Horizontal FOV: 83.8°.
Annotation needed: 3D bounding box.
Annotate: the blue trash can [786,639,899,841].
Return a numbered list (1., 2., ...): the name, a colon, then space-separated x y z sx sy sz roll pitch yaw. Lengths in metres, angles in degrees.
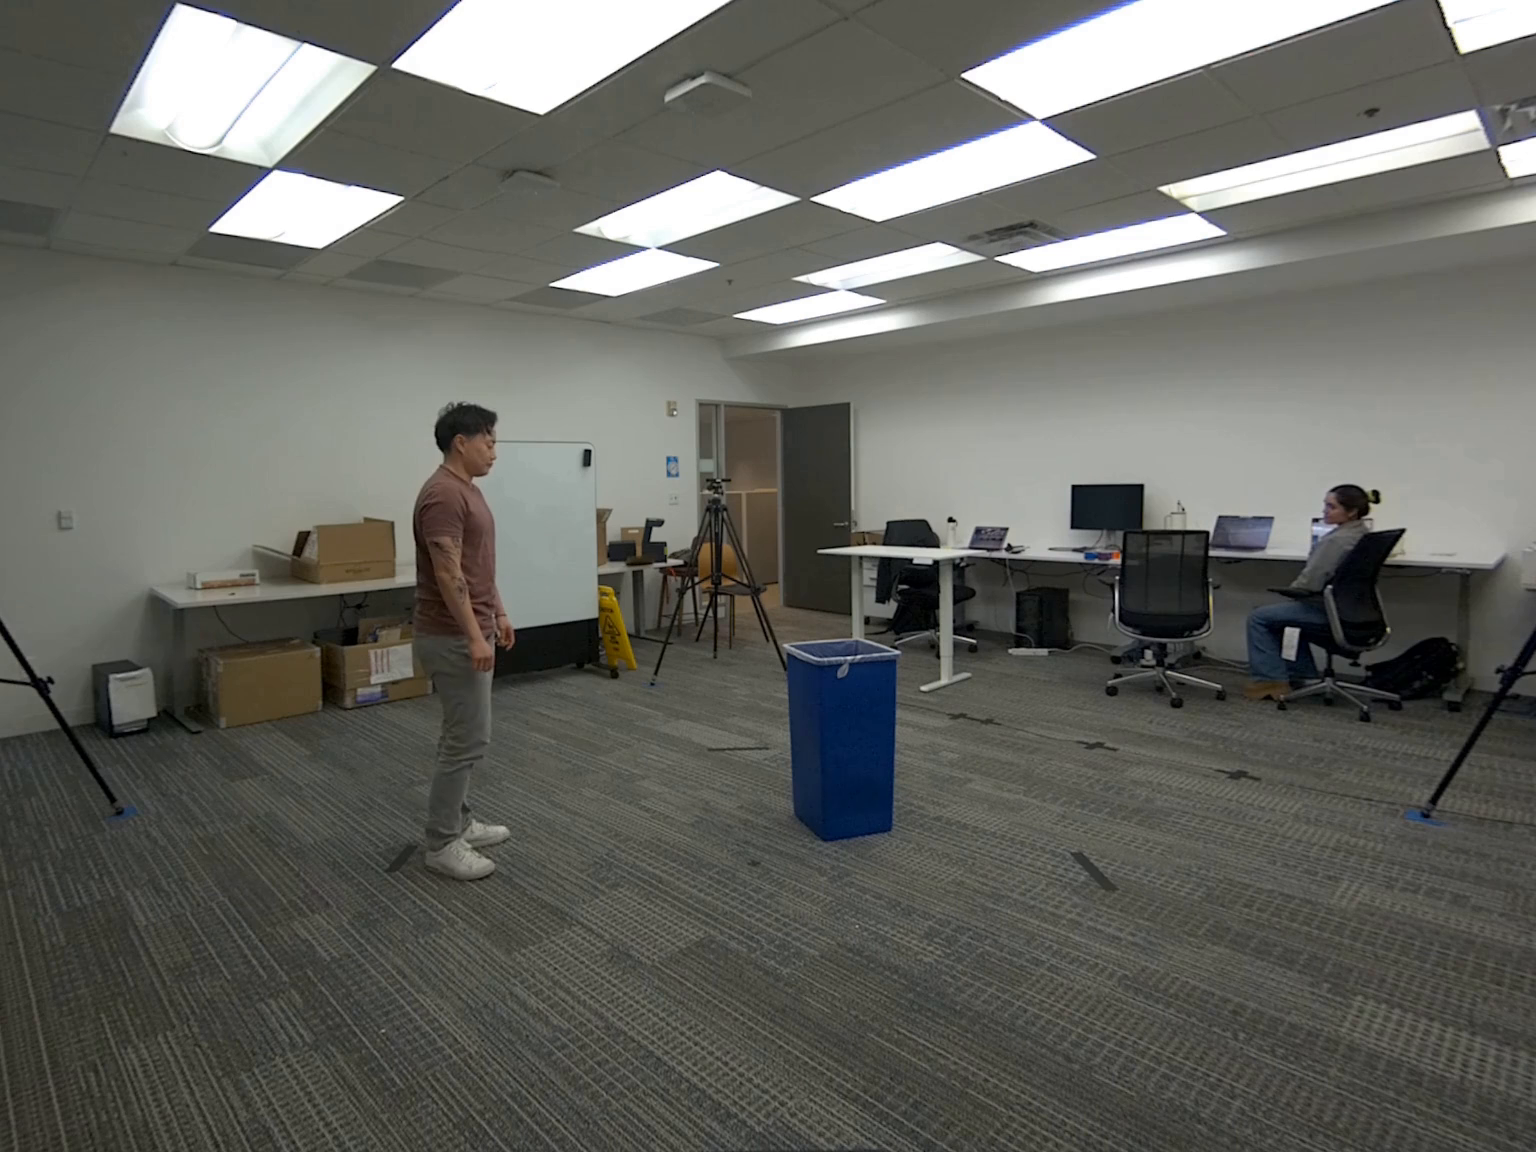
1. blue trash can: 0.286 0.639 3.445 0.371 0.711 0.382 -2 4 -21
